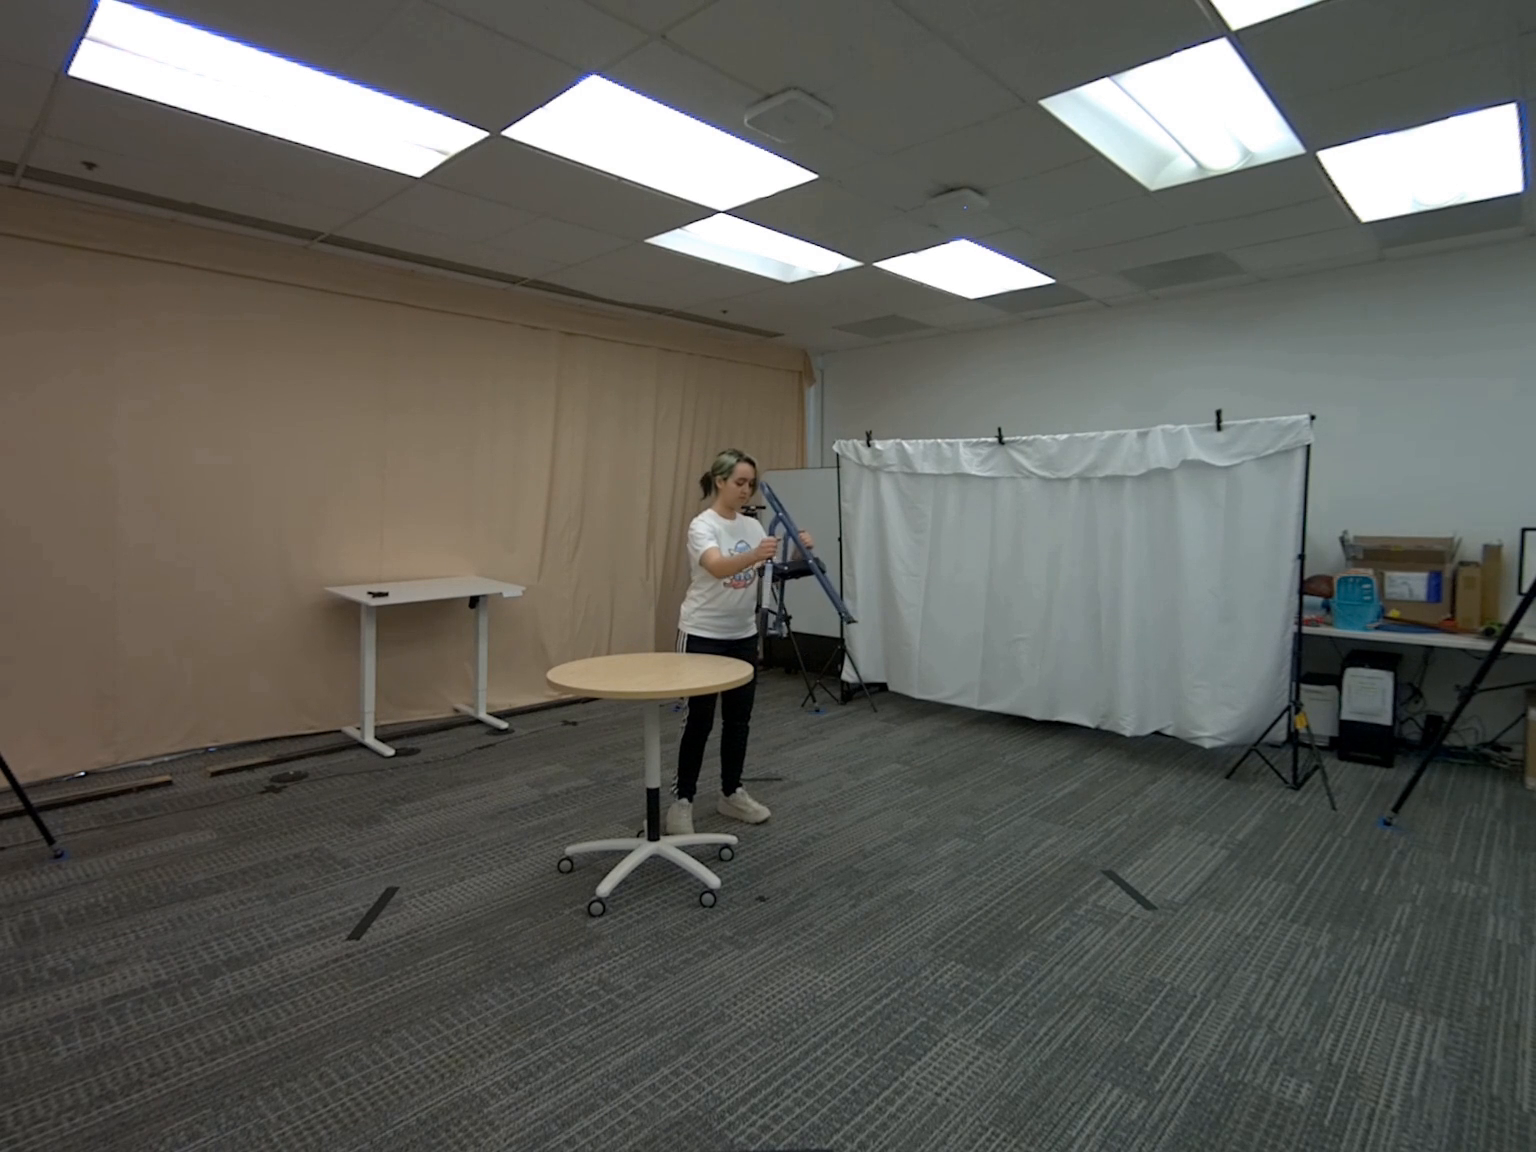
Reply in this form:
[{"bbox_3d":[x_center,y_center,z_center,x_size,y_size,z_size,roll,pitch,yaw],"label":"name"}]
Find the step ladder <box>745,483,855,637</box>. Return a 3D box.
[{"bbox_3d":[0.102,-0.077,3.367,0.351,0.611,0.425,-11,-9,6],"label":"step ladder"}]
